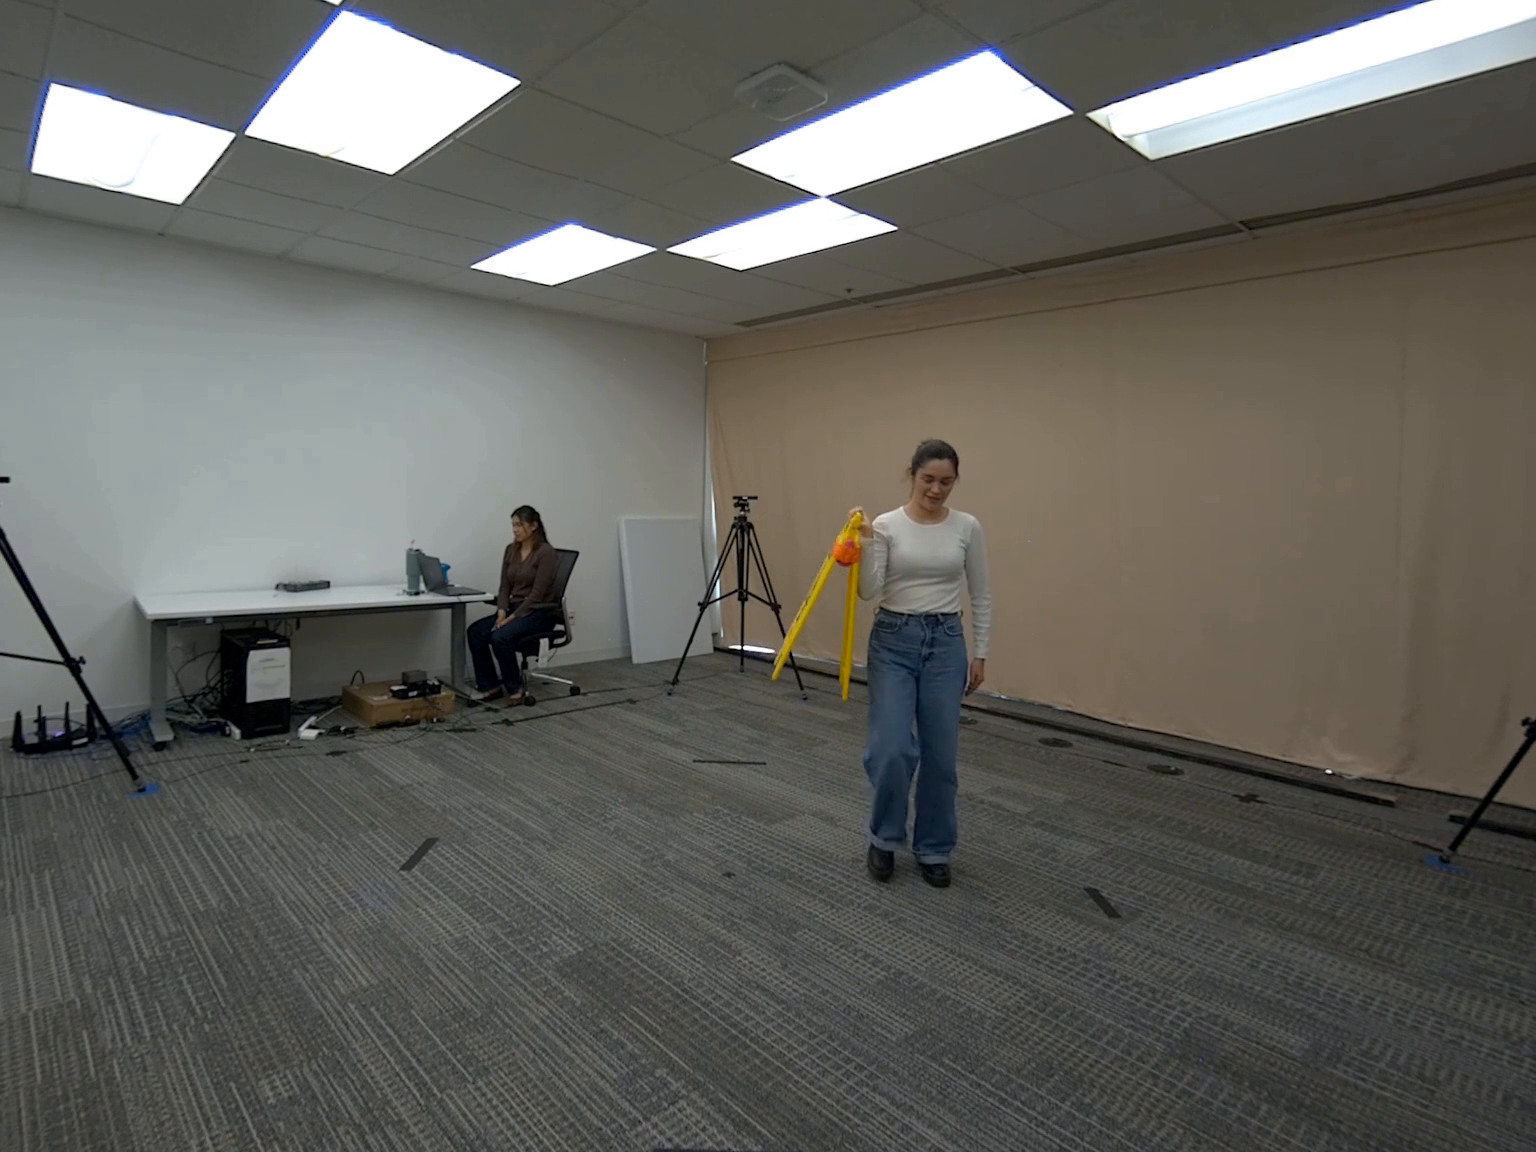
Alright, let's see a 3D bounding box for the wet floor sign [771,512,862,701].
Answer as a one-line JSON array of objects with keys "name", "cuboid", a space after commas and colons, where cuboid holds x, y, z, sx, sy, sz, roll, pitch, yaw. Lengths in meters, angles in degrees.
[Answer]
[{"name": "wet floor sign", "cuboid": [0.232, 0.082, 3.050, 0.290, 0.643, 0.283, 15, 9, 1]}]
